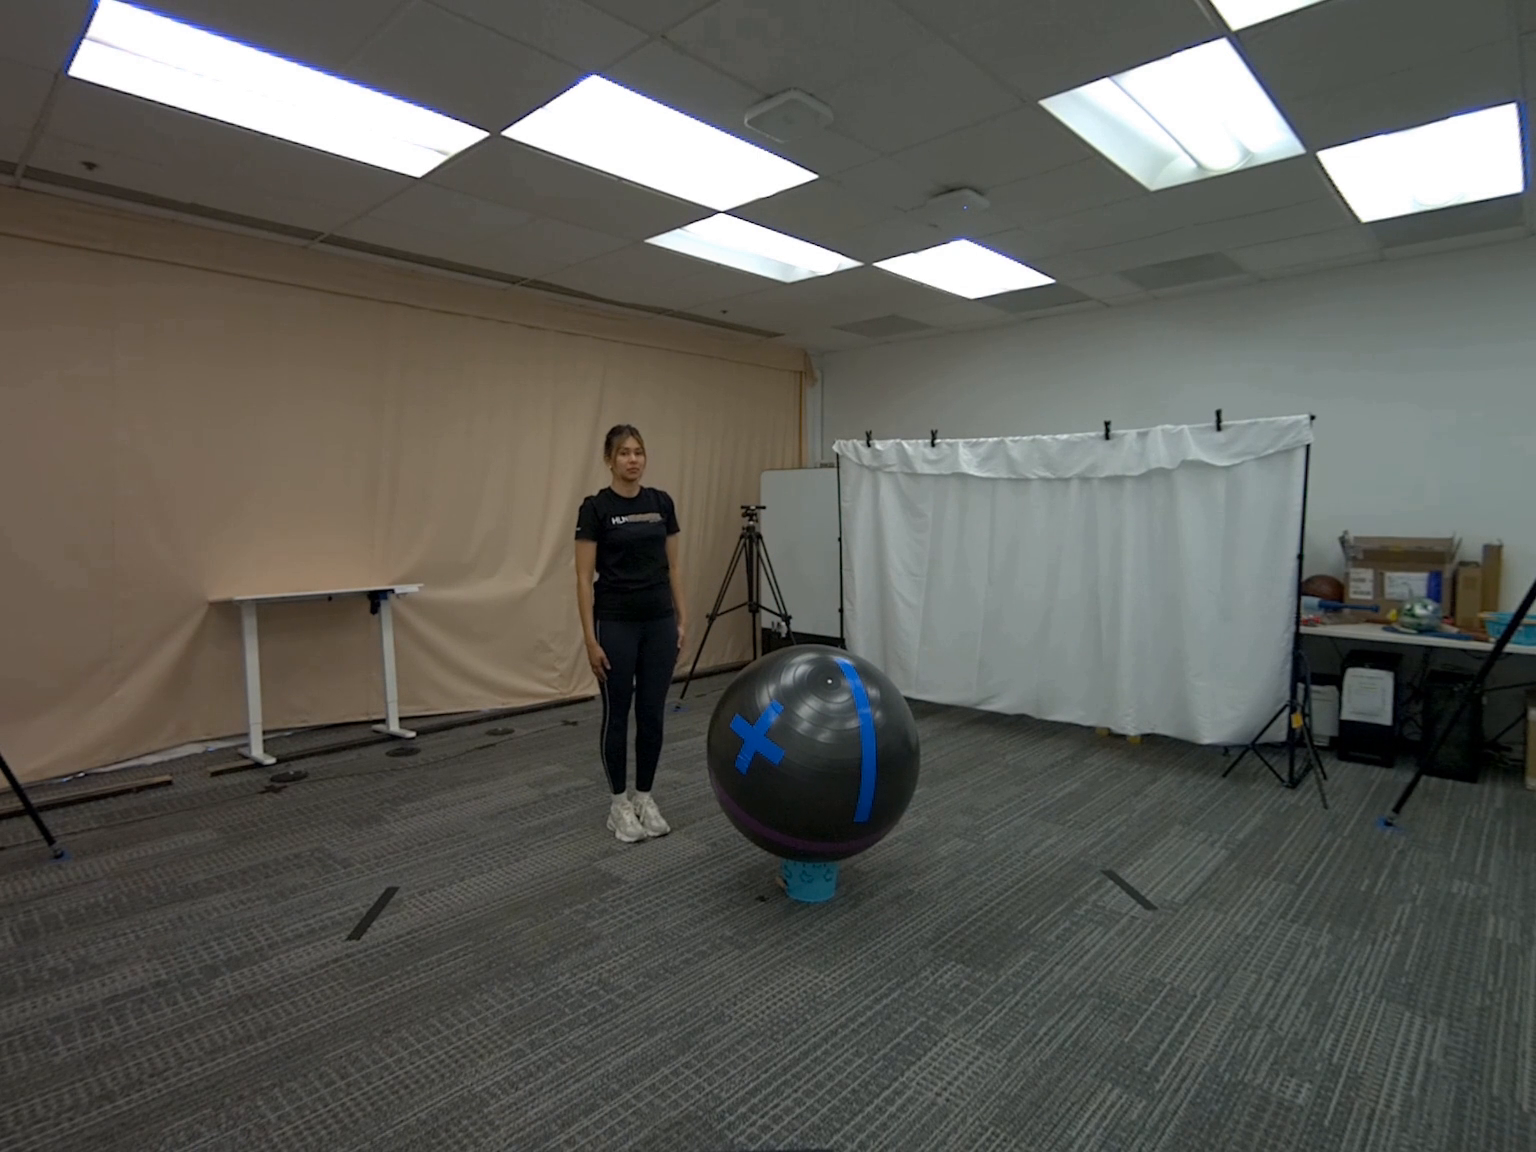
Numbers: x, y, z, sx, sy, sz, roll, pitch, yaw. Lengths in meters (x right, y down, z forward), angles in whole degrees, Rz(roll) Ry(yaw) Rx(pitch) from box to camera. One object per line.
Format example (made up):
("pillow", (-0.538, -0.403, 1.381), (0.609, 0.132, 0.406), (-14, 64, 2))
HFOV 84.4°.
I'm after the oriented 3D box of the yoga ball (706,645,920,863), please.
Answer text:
("yoga ball", (0.162, 0.628, 3.017), (0.757, 0.756, 0.760), (0, 4, -2))
